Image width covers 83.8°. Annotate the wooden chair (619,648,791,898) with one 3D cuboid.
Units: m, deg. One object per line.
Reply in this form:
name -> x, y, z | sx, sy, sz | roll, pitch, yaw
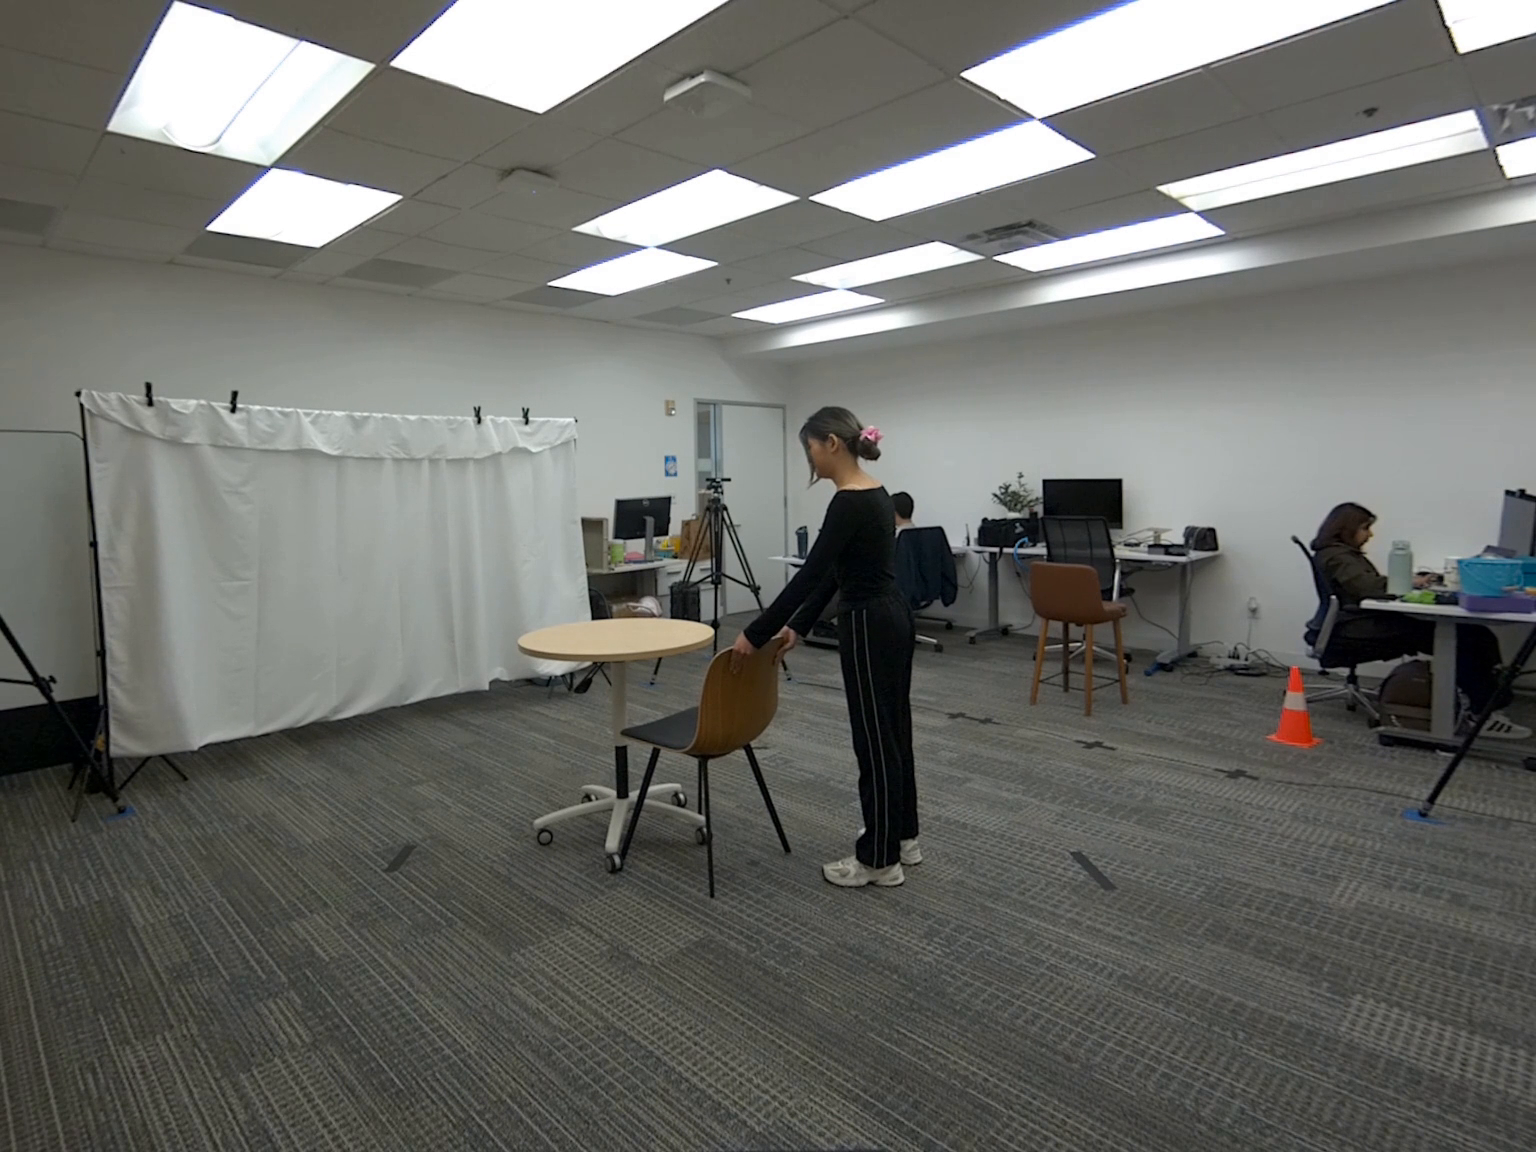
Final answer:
wooden chair -> -0.237, 0.611, 3.125 | 0.540, 0.871, 0.466 | 9, 10, 38
